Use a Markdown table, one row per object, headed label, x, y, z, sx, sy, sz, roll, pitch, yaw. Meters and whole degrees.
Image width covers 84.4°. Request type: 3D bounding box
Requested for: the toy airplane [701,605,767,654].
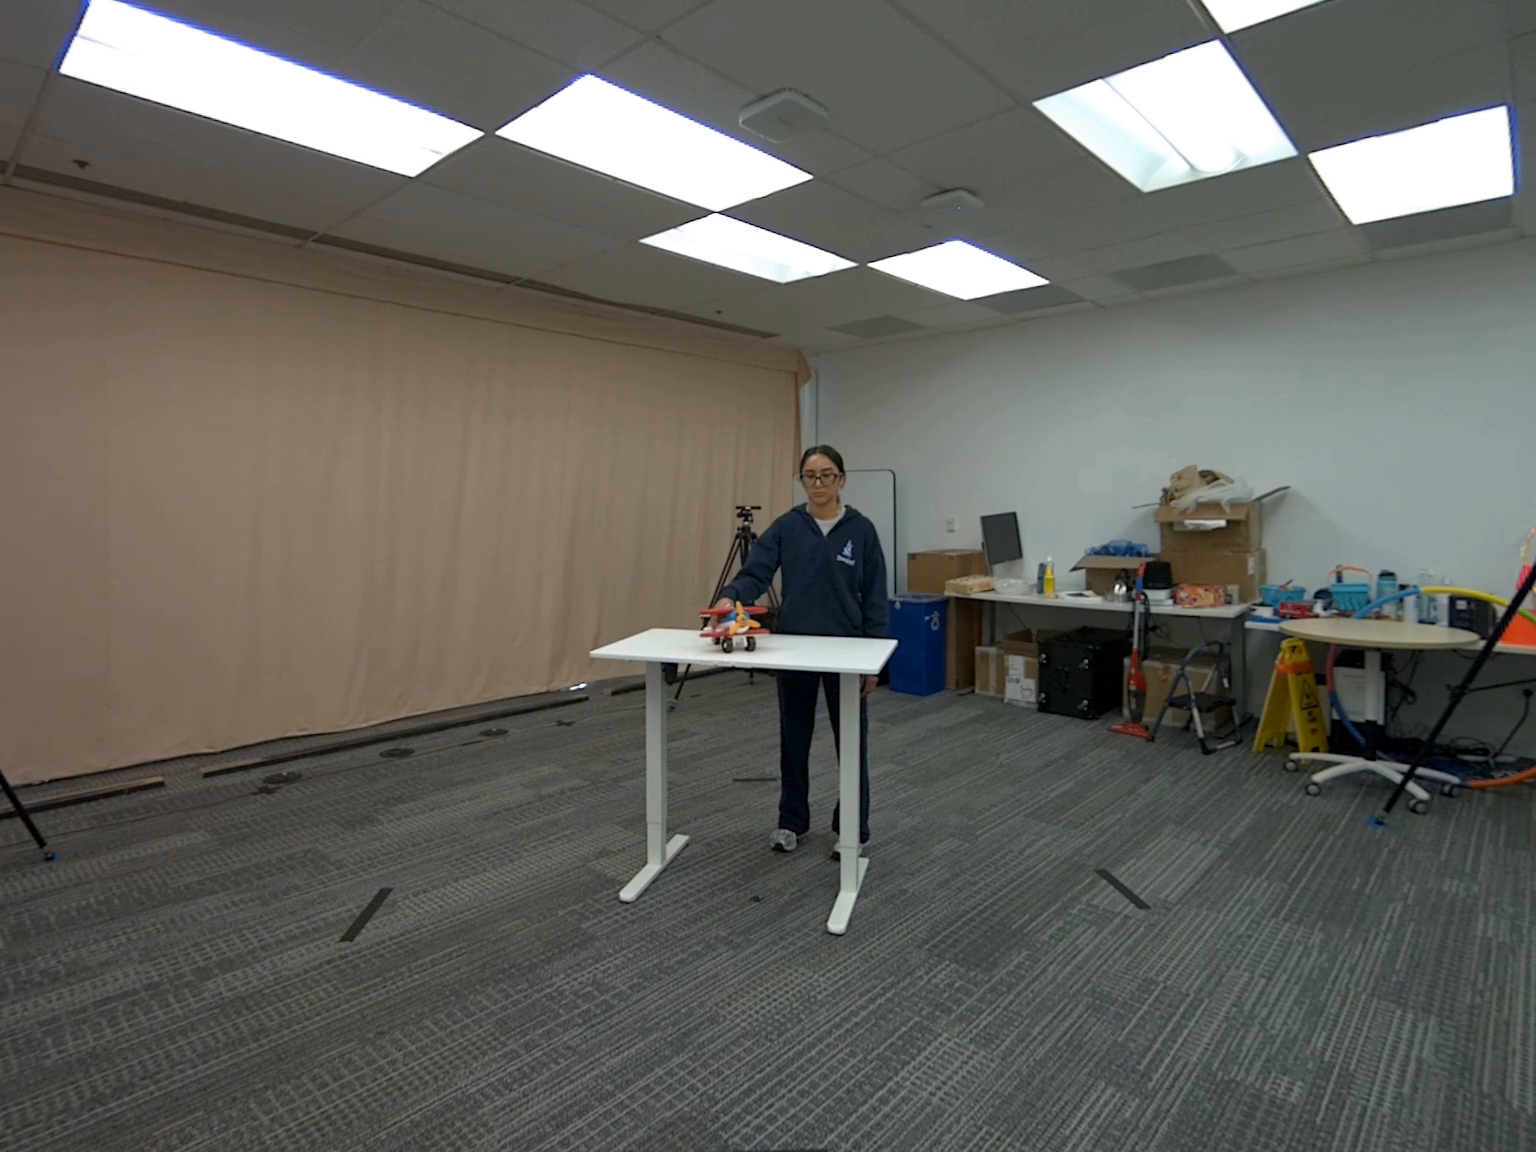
| label | x | y | z | sx | sy | sz | roll | pitch | yaw |
| --- | --- | --- | --- | --- | --- | --- | --- | --- | --- |
| toy airplane | -0.139 | 0.184 | 3.021 | 0.268 | 0.156 | 0.243 | 3 | 6 | 43 |
